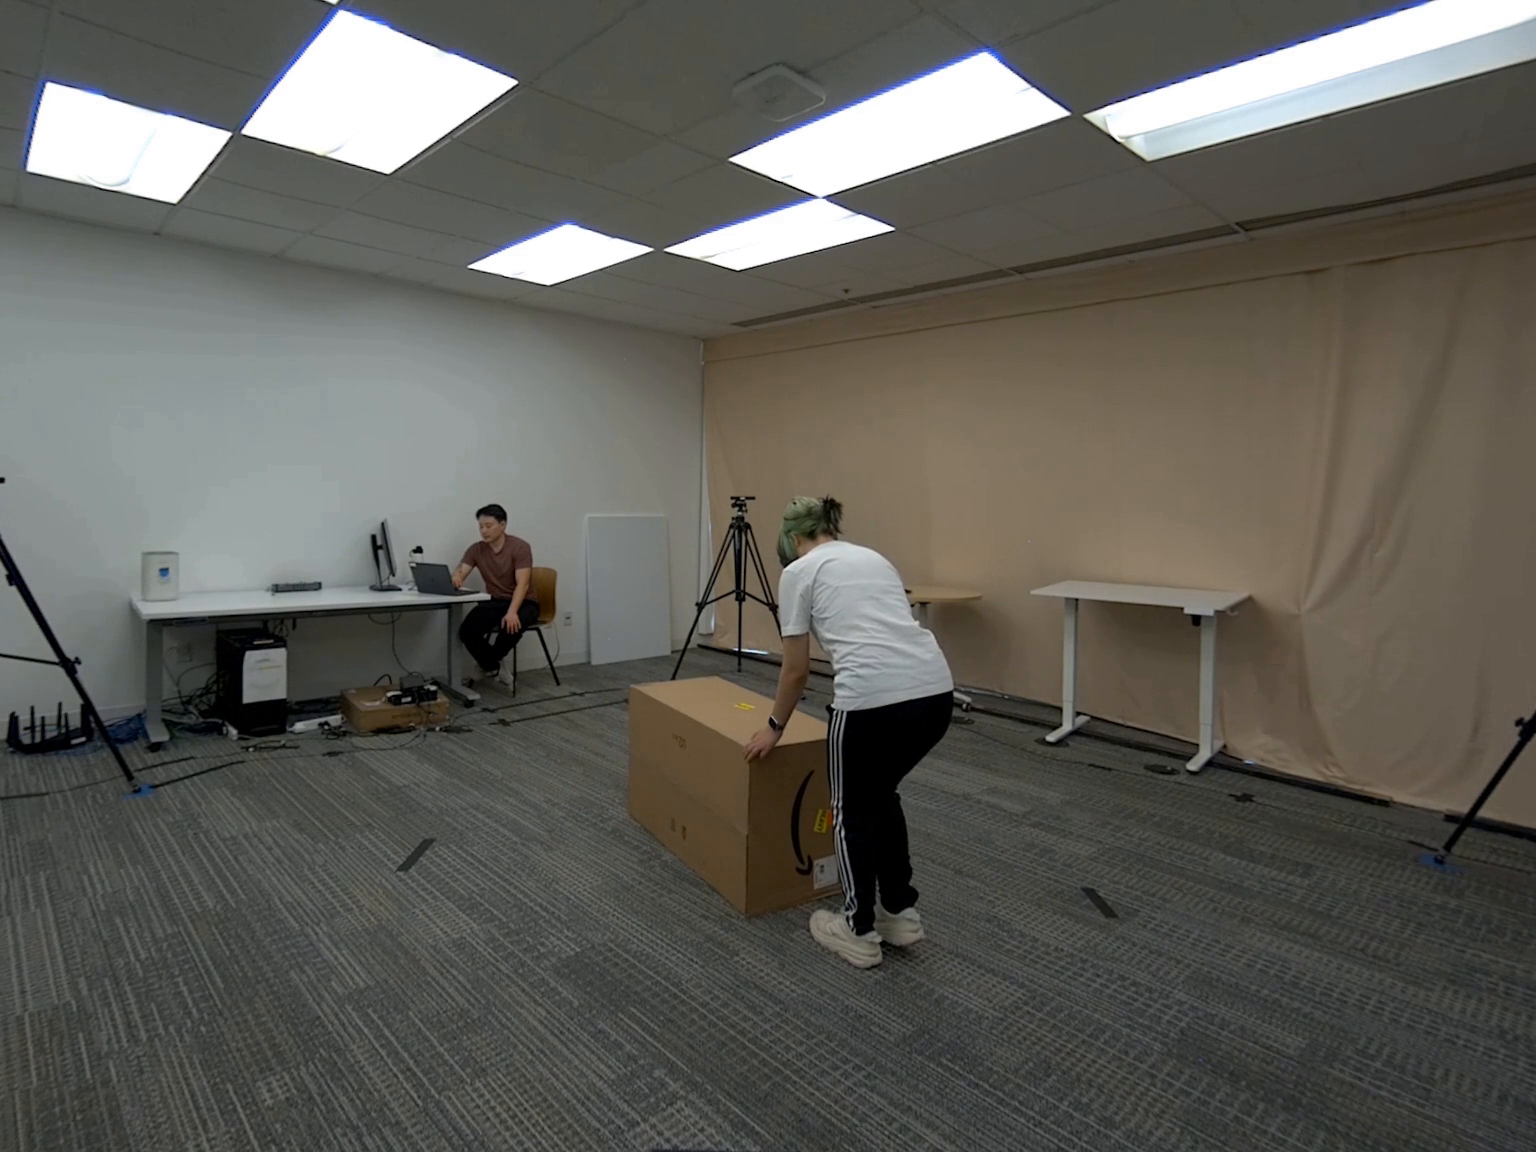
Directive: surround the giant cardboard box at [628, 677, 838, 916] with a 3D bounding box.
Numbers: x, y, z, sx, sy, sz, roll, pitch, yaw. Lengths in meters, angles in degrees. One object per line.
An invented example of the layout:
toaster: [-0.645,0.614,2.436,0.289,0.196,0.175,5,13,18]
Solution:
giant cardboard box: [-0.162,0.797,3.316,0.437,0.582,1.051,0,5,-31]
